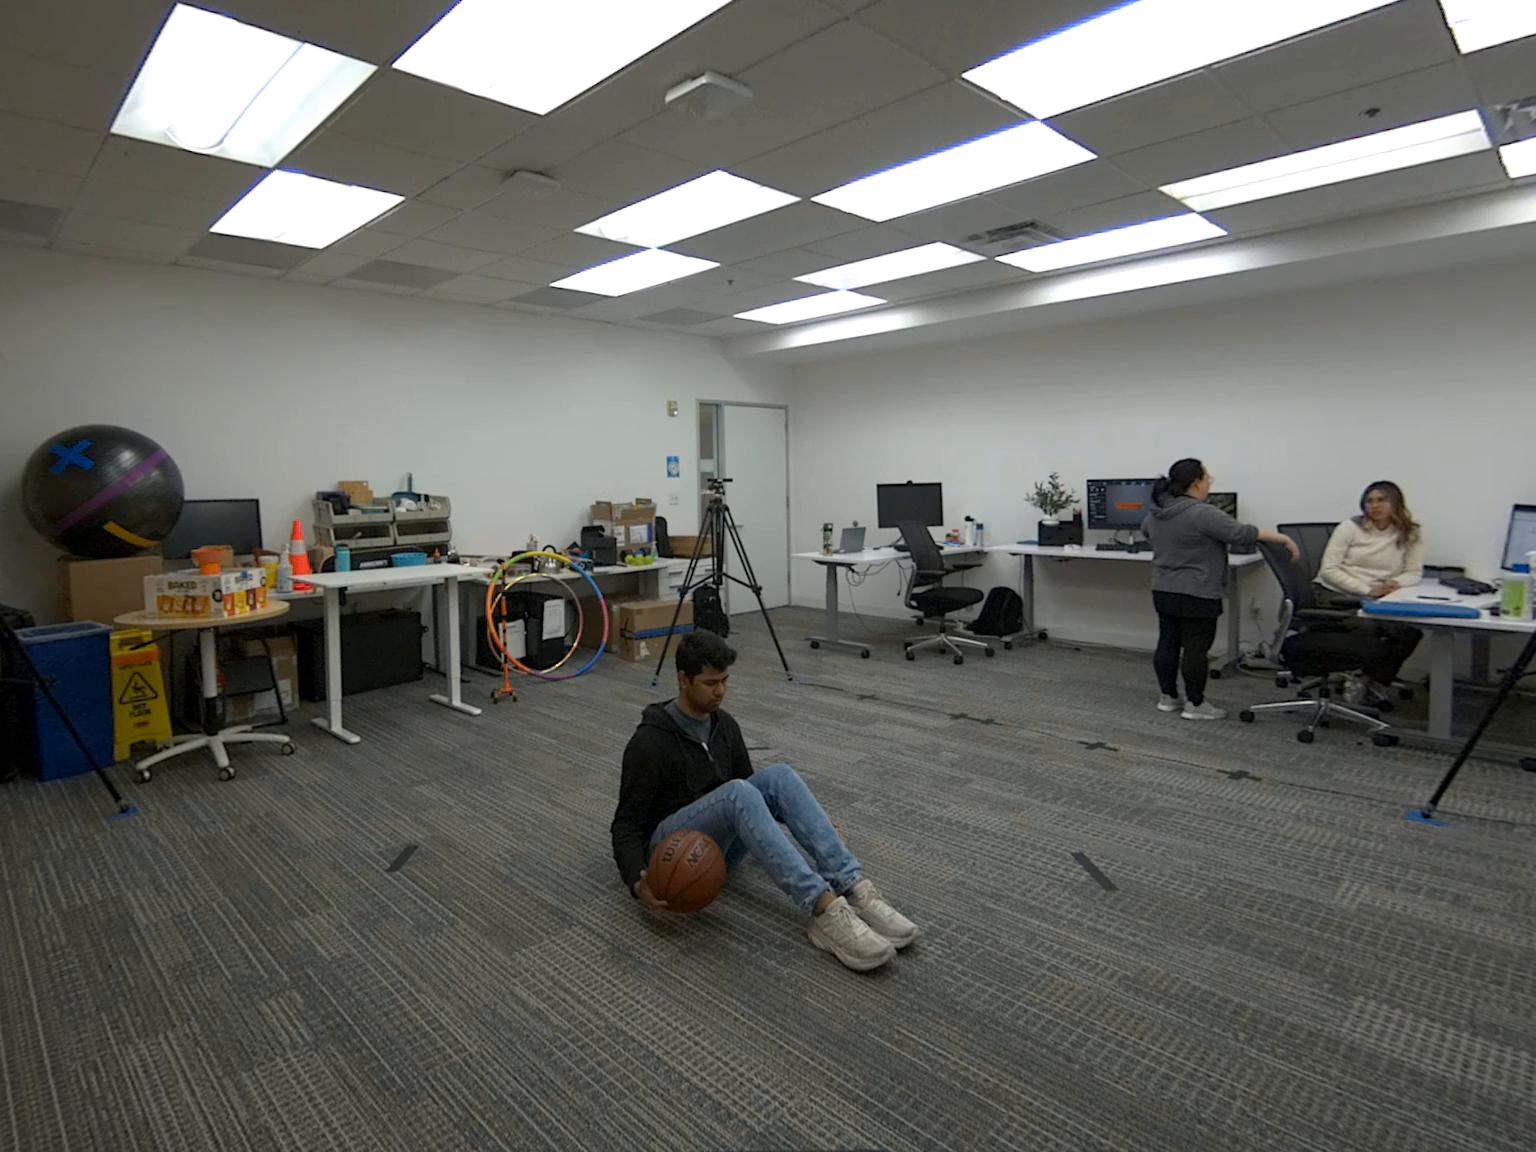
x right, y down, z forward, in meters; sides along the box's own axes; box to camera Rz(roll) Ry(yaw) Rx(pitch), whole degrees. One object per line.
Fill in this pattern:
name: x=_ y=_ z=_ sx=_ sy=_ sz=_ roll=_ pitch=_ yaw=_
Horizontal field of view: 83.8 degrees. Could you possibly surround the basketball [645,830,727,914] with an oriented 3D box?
basketball: x=-0.239 y=0.903 z=2.646 sx=0.236 sy=0.235 sz=0.237 roll=-1 pitch=5 yaw=-2
